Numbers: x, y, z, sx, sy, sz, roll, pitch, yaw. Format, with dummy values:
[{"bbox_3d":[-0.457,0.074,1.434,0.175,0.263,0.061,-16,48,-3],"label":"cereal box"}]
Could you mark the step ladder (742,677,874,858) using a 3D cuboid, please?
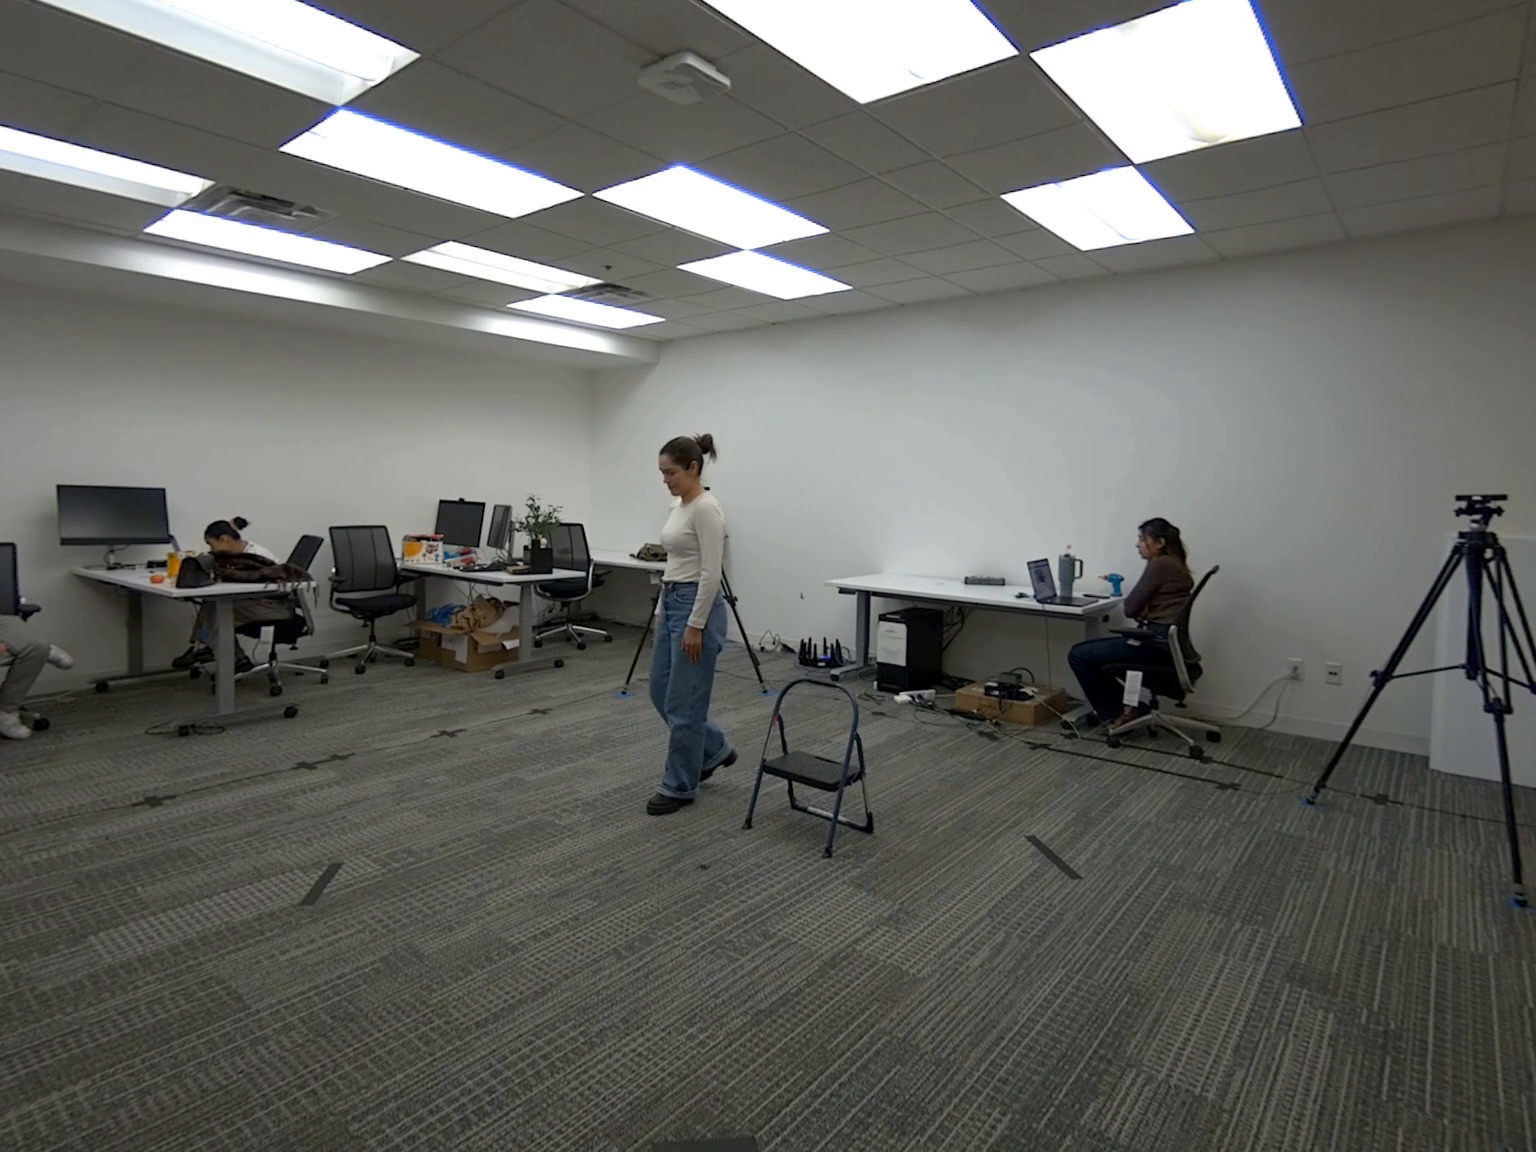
[{"bbox_3d":[0.167,0.734,3.460,0.445,0.604,0.339,4,5,39],"label":"step ladder"}]
